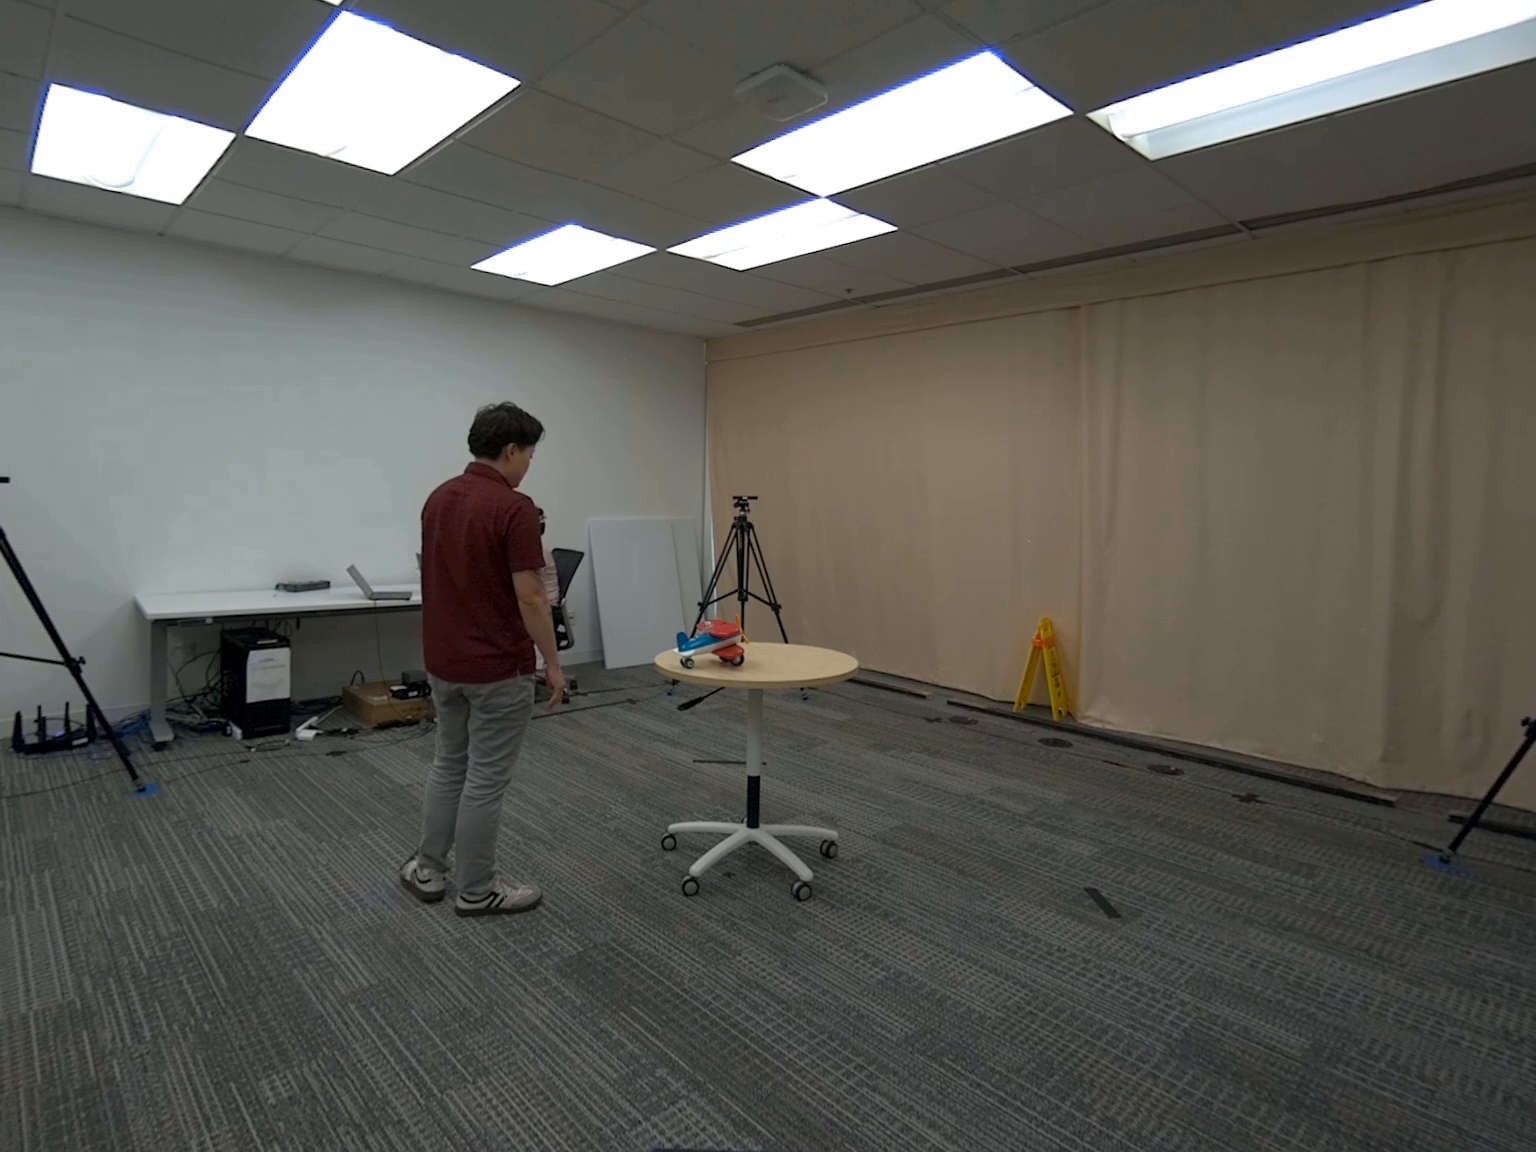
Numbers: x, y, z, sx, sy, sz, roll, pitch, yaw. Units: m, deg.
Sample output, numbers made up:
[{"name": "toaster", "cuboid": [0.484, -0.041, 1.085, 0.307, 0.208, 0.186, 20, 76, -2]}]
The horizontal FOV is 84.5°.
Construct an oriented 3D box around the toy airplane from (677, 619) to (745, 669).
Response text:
[{"name": "toy airplane", "cuboid": [-0.206, 0.250, 3.022, 0.257, 0.156, 0.254, 4, 4, 35]}]
